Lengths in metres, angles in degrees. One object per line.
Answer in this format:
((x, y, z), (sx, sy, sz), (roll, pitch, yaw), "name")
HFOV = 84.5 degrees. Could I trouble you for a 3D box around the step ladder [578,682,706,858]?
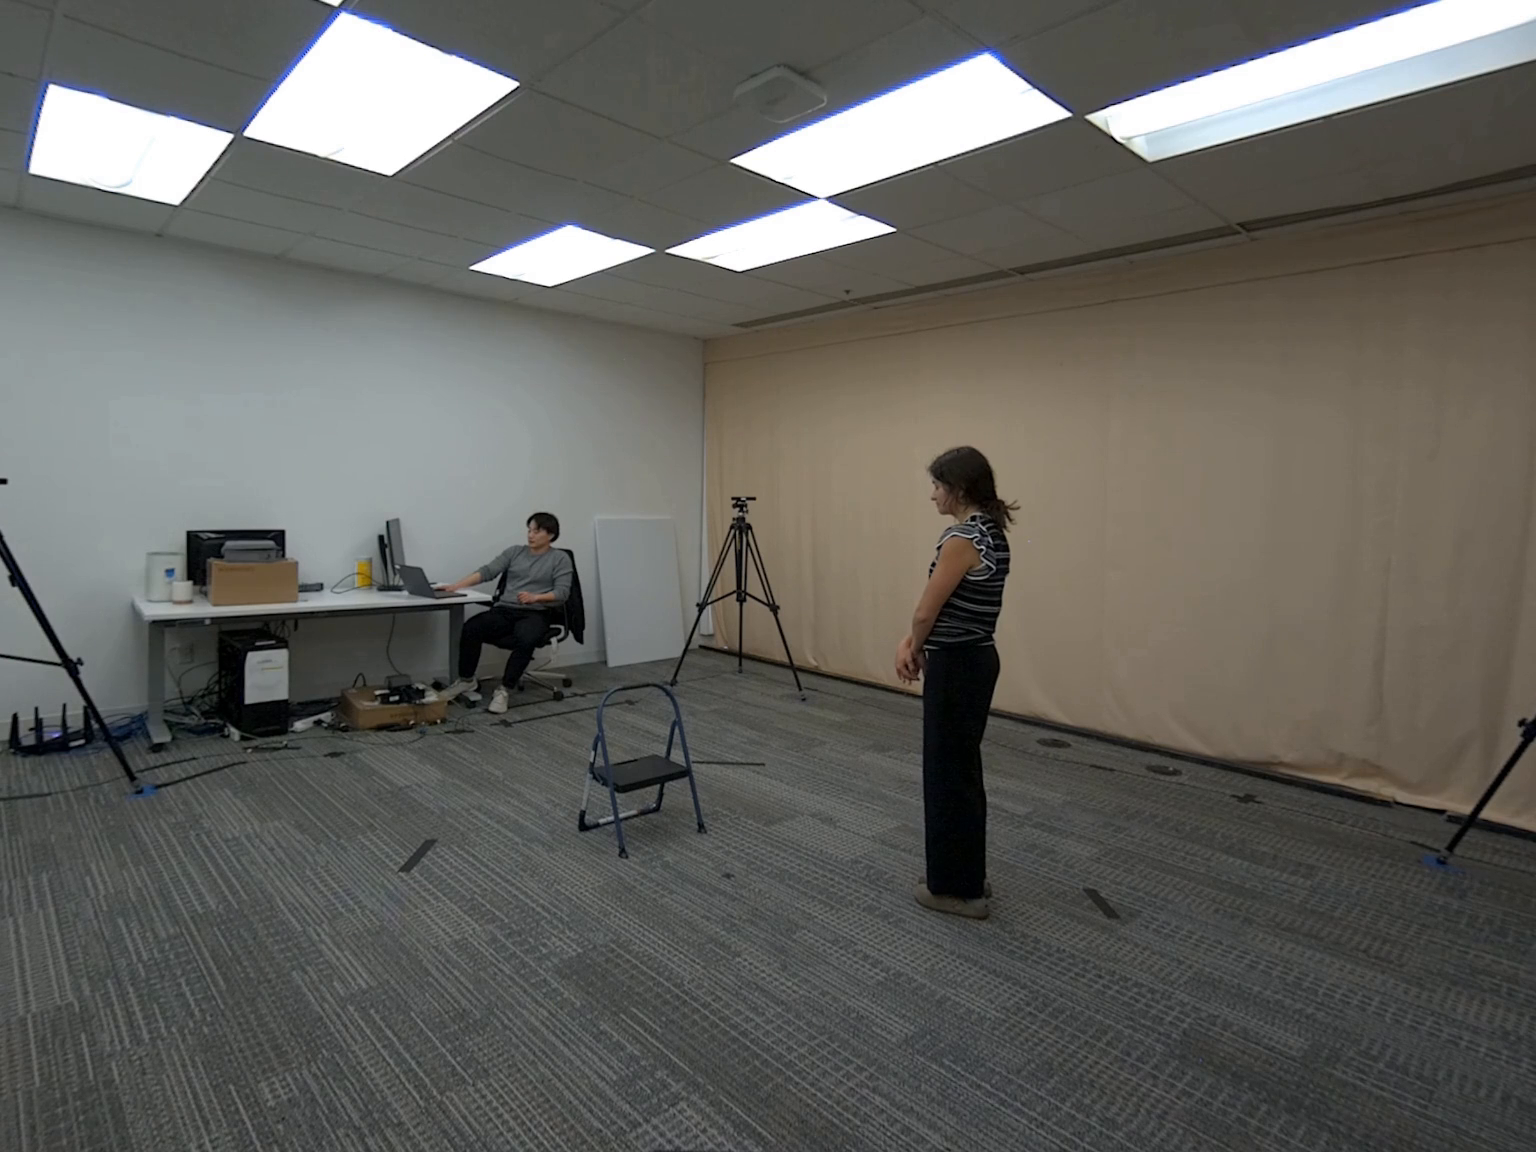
((-0.522, 0.763, 3.486), (0.421, 0.604, 0.358), (-2, 5, -43), "step ladder")
